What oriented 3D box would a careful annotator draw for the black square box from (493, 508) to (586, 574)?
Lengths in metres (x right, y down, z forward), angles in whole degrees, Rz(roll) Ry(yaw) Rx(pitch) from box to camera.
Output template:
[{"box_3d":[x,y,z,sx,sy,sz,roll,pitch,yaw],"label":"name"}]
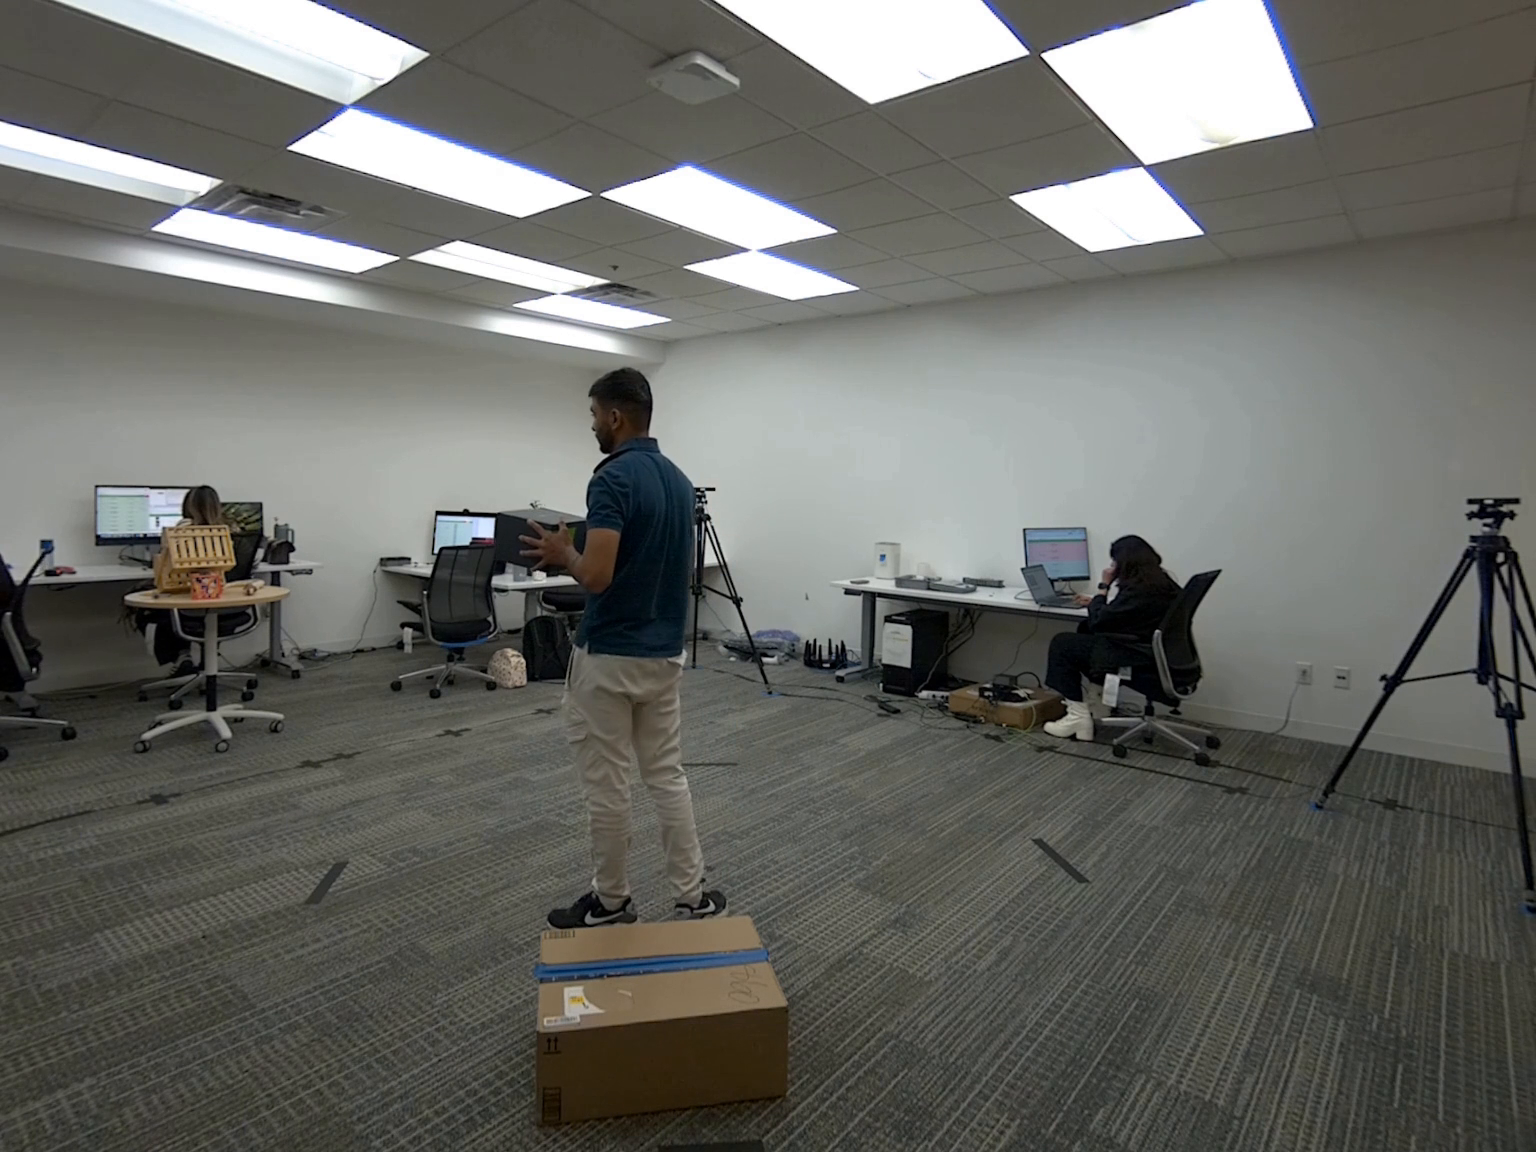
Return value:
[{"box_3d":[-0.731,-0.122,2.753,0.222,0.155,0.224,12,11,21],"label":"black square box"}]
